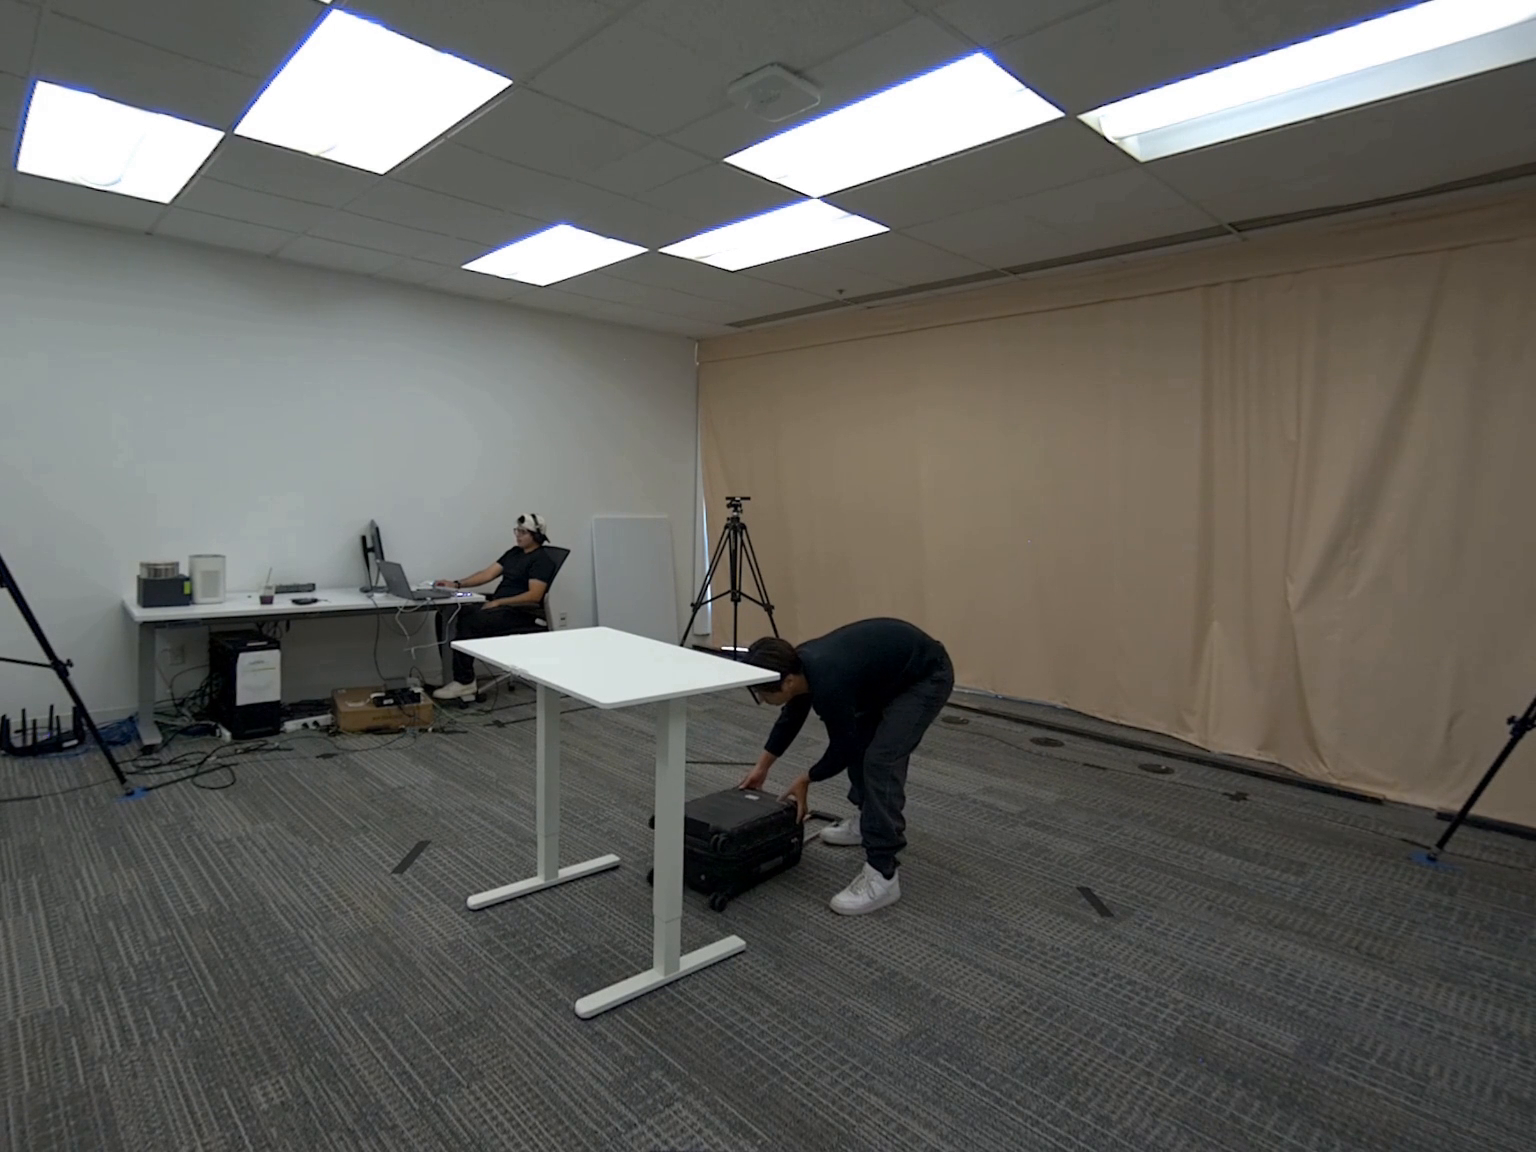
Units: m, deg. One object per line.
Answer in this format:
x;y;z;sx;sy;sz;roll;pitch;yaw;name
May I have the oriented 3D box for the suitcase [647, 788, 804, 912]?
-0.022;0.965;3.288;0.393;0.256;0.958;1;4;35;suitcase
